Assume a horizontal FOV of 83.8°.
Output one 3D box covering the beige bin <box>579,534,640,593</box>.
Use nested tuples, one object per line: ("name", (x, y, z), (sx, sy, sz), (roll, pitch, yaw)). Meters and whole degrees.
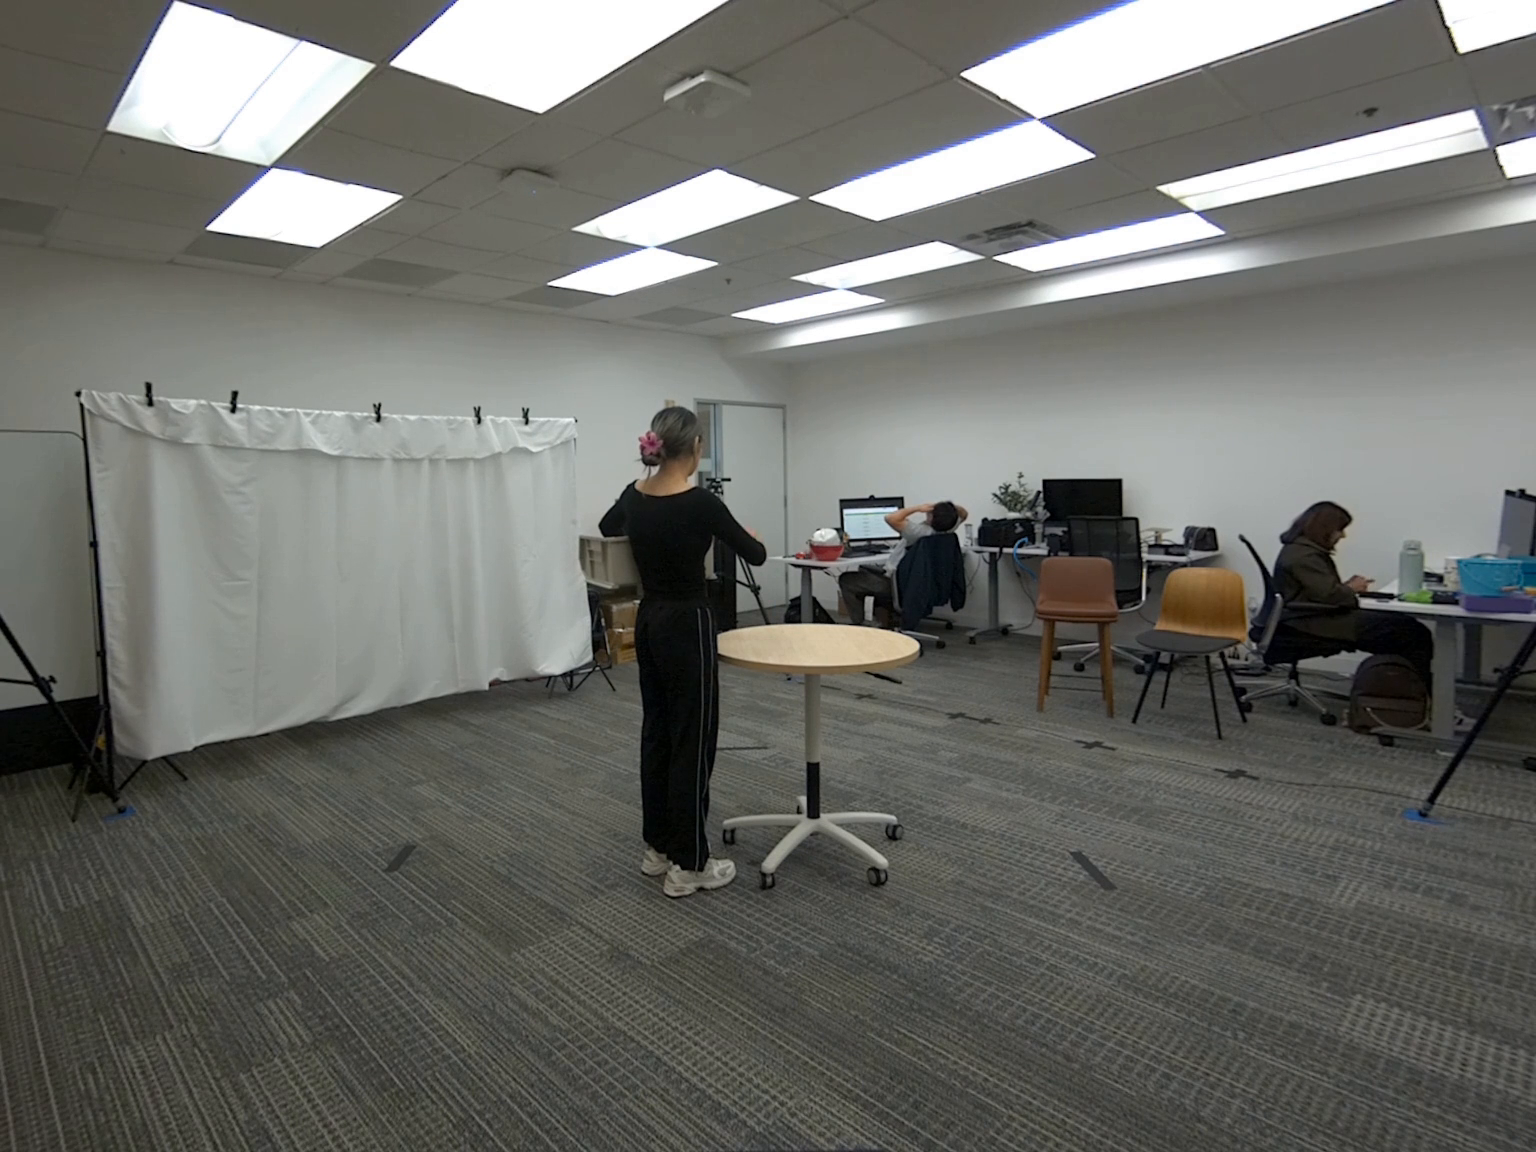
("beige bin", (-0.462, -0.076, 3.225), (0.415, 0.188, 0.386), (-5, 7, -22))
